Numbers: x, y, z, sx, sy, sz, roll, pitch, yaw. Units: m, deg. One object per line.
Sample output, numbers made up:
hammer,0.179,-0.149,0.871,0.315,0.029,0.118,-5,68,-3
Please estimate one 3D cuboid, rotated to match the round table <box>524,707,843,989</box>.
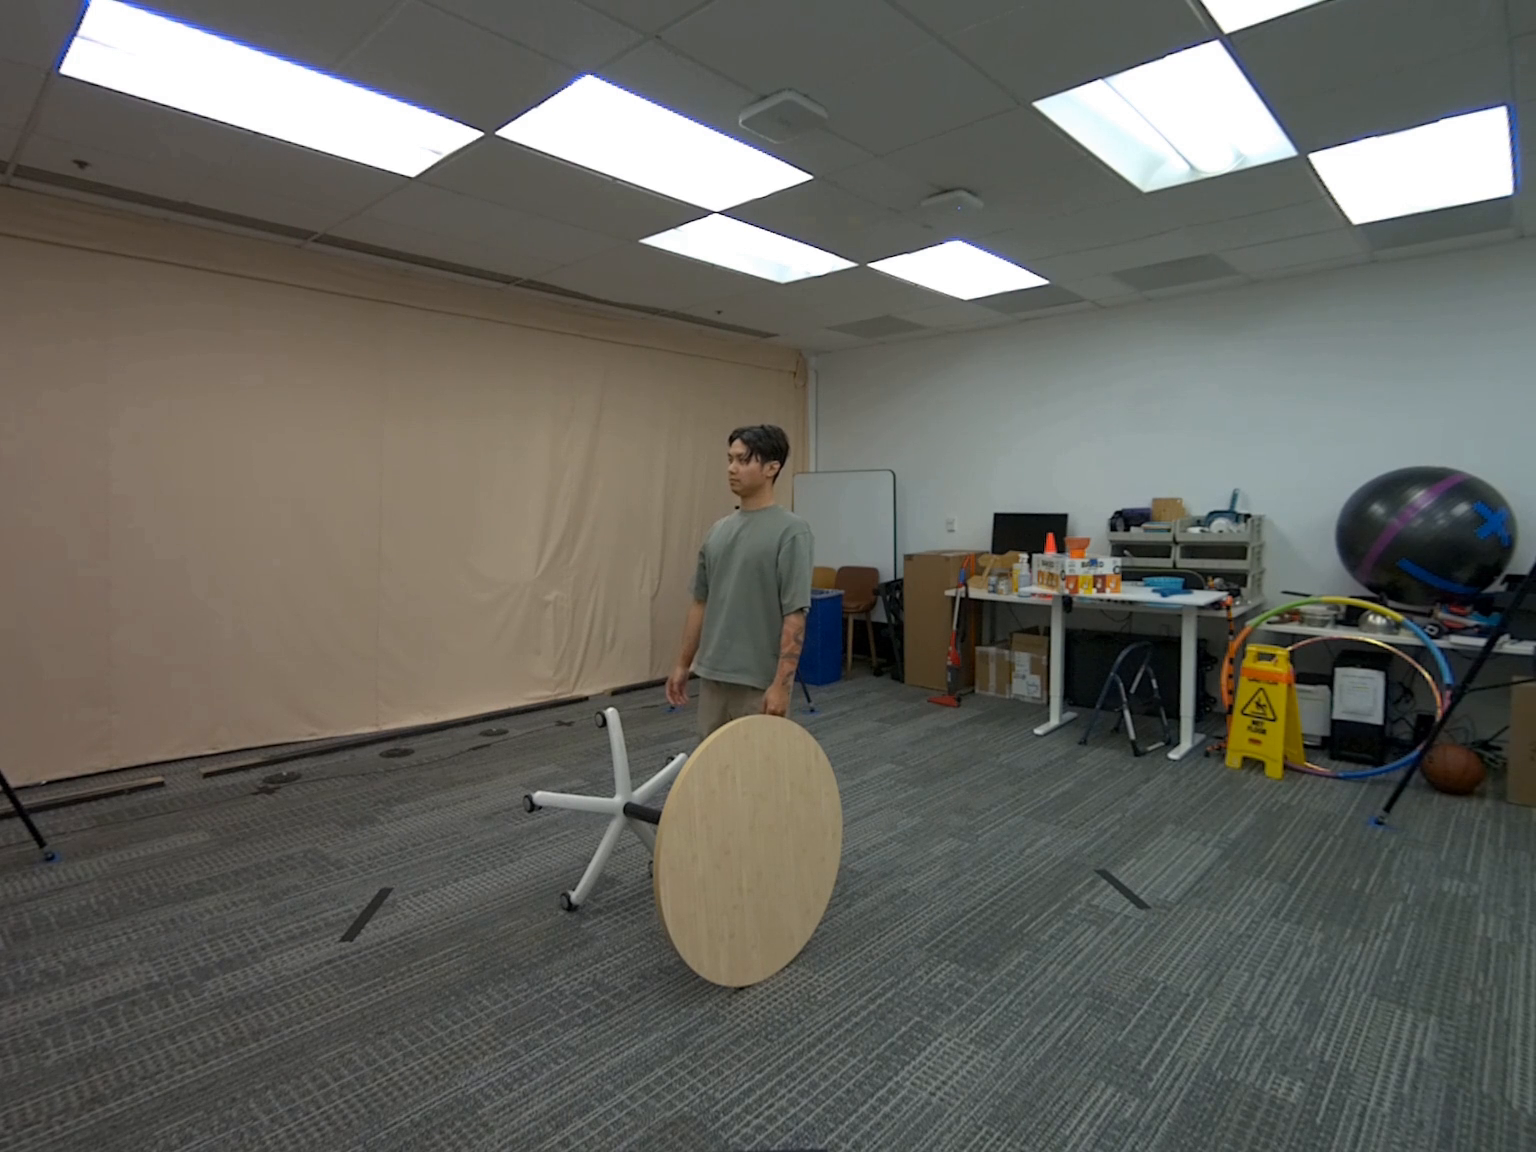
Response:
round table,-0.313,0.819,2.779,0.761,0.786,0.810,-4,-1,-45
